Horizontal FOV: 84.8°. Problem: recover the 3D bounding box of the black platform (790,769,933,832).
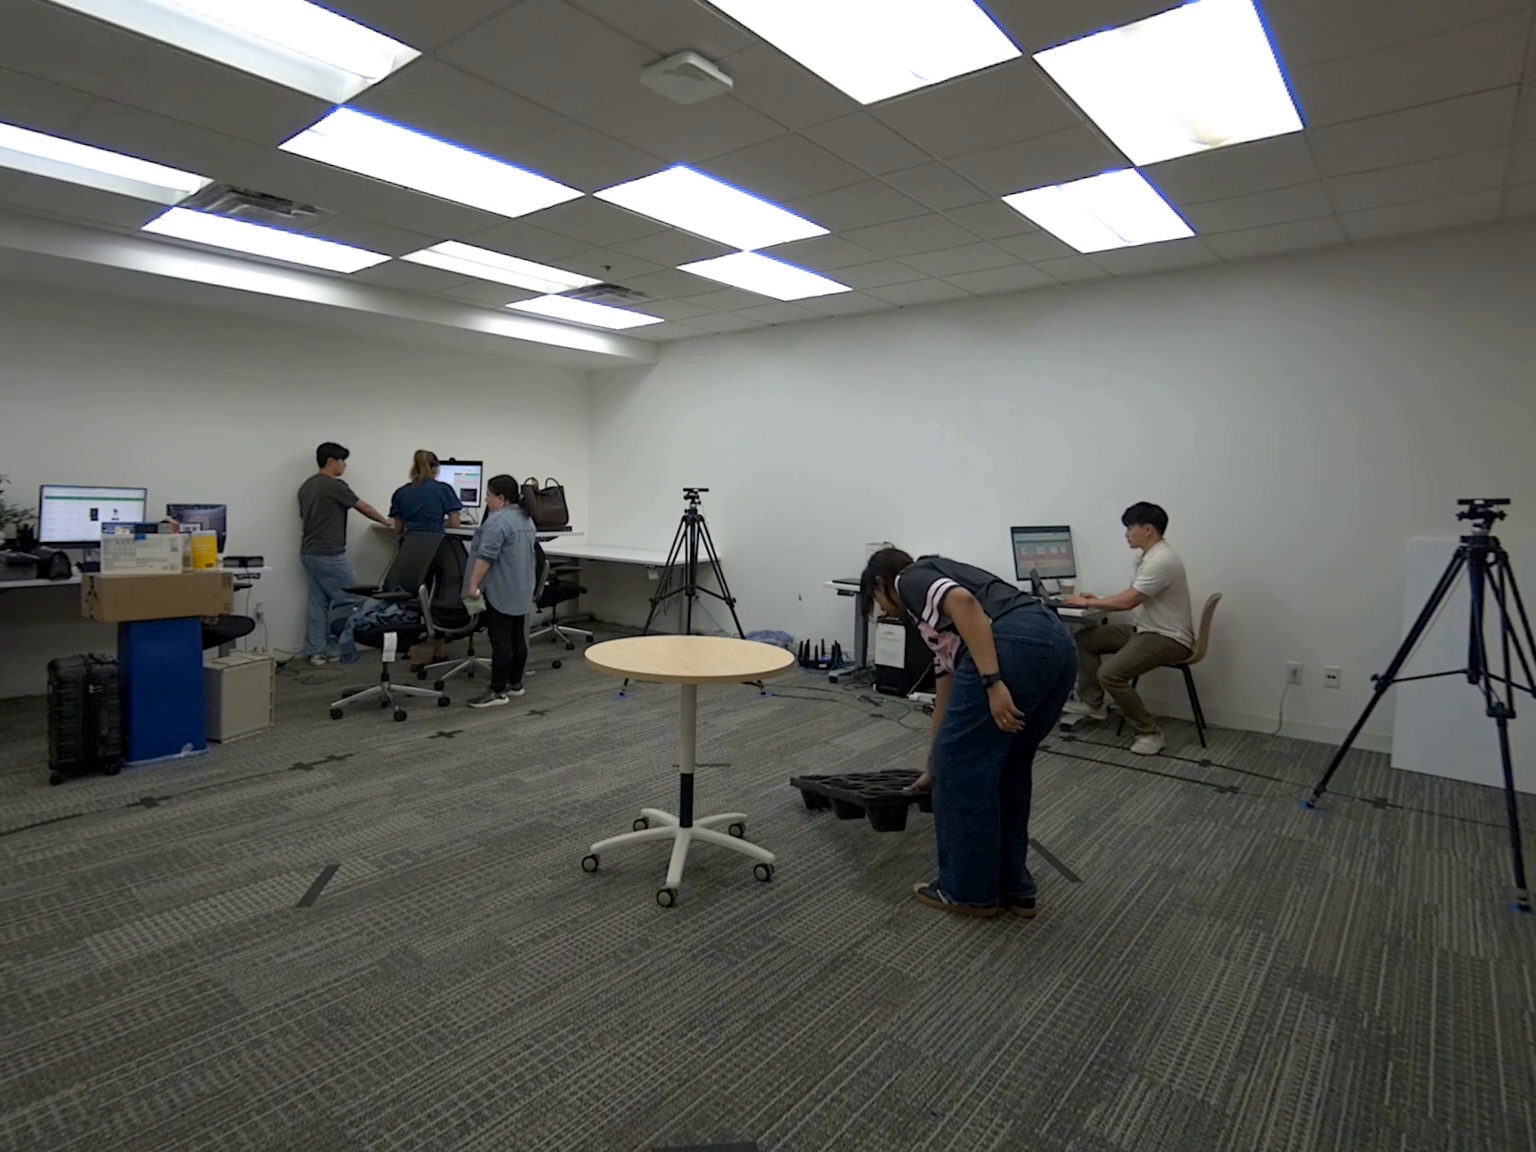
[{"bbox_3d":[0.491,0.898,3.468,0.595,0.144,0.812,-1,-7,-18],"label":"black platform"}]
